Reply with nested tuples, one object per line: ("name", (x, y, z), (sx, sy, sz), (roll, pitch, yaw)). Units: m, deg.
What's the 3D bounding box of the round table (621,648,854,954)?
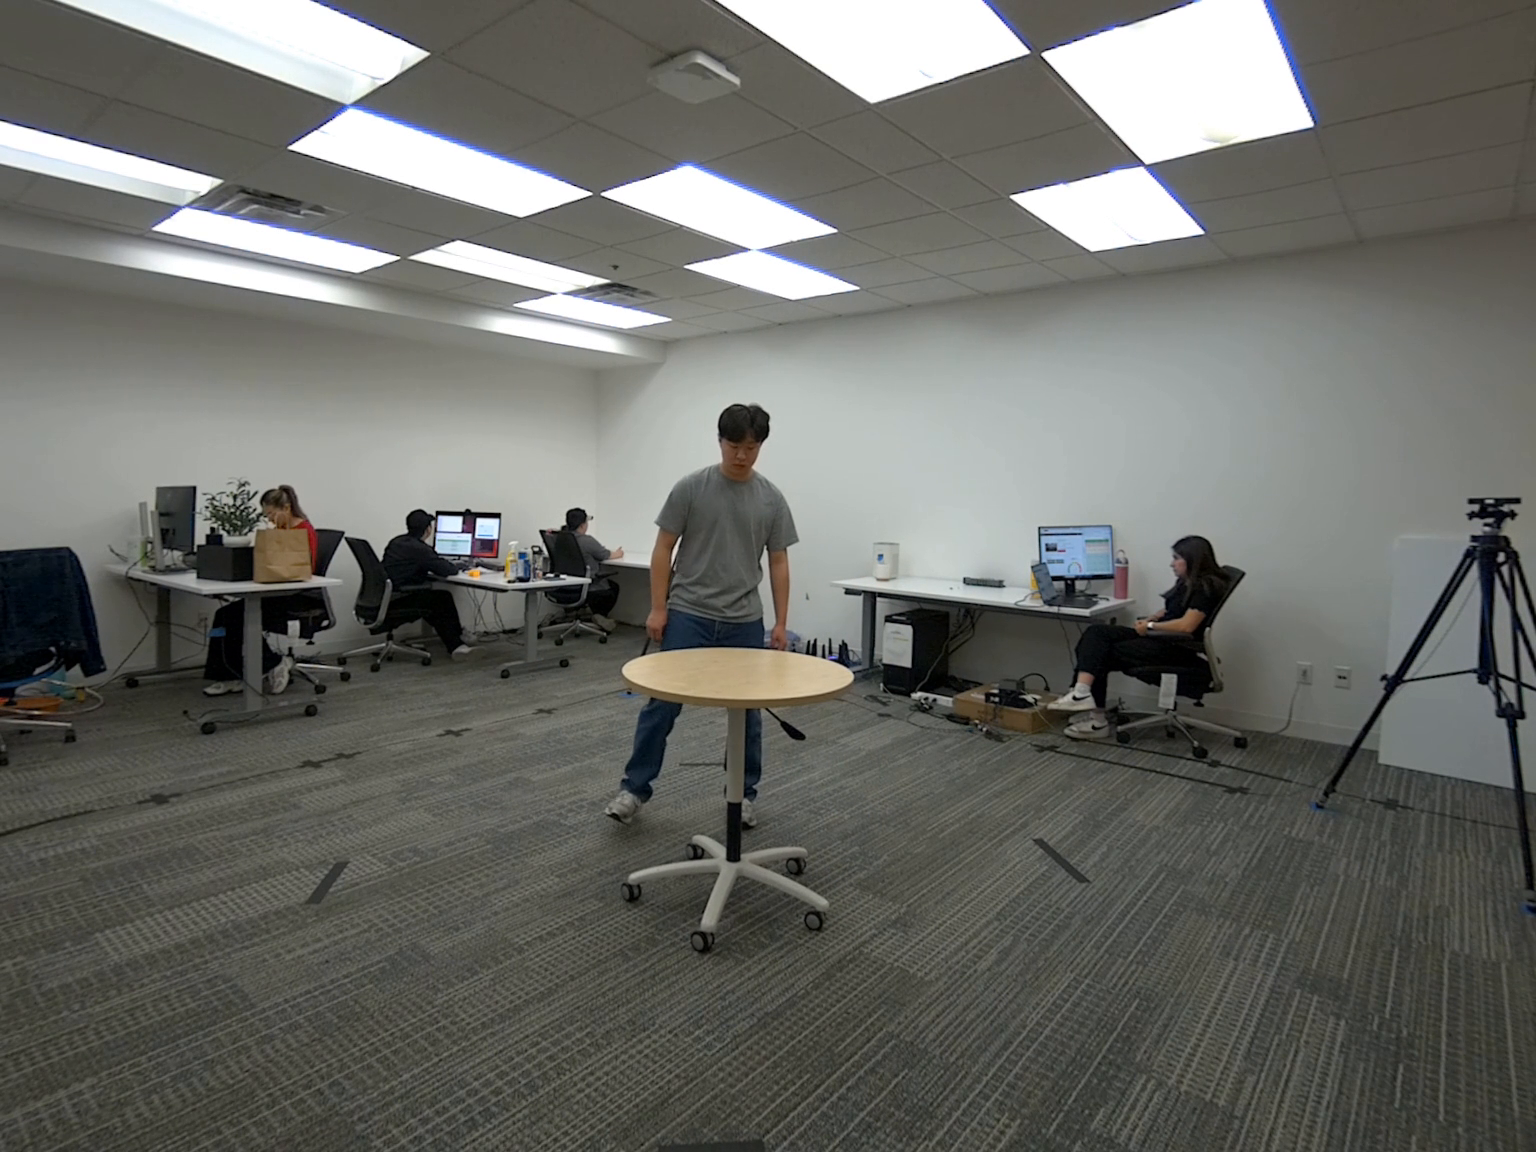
("round table", (-0.130, 0.703, 2.852), (0.763, 0.791, 0.768), (1, 4, -2))
